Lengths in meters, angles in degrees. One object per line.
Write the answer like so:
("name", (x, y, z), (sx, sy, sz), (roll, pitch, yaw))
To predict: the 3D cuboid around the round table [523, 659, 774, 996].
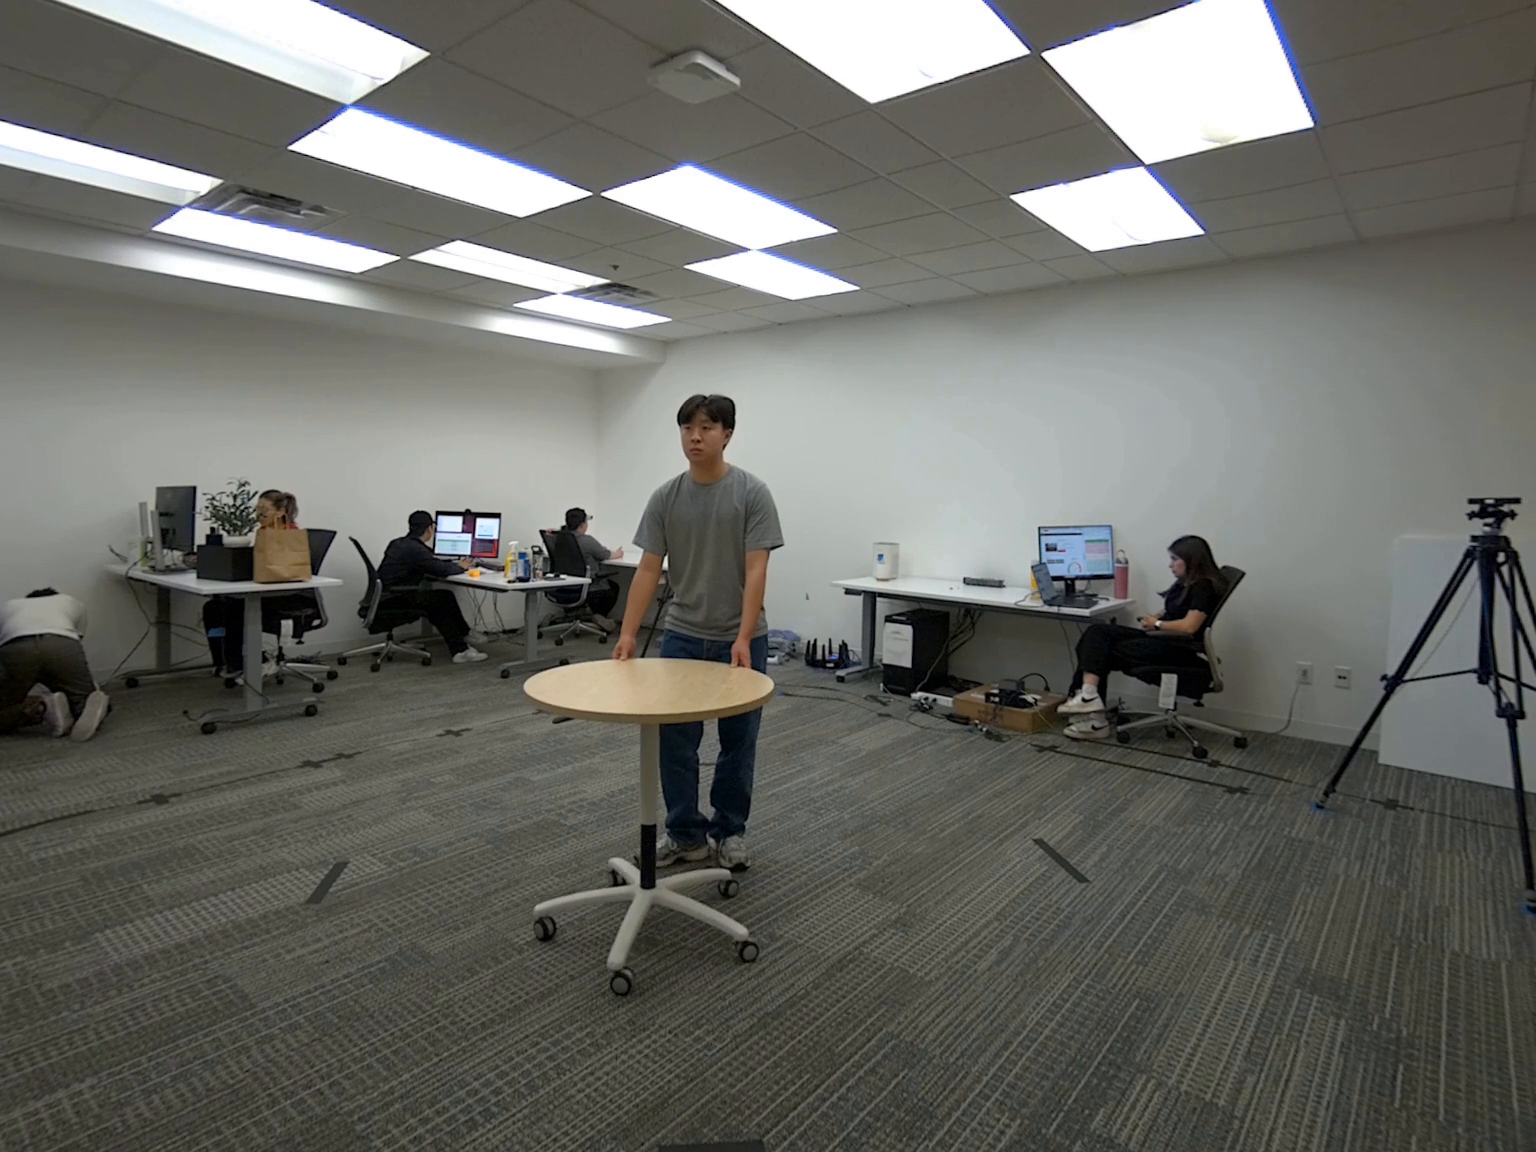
("round table", (-0.381, 0.718, 2.650), (0.763, 0.792, 0.767), (1, 4, -2))
